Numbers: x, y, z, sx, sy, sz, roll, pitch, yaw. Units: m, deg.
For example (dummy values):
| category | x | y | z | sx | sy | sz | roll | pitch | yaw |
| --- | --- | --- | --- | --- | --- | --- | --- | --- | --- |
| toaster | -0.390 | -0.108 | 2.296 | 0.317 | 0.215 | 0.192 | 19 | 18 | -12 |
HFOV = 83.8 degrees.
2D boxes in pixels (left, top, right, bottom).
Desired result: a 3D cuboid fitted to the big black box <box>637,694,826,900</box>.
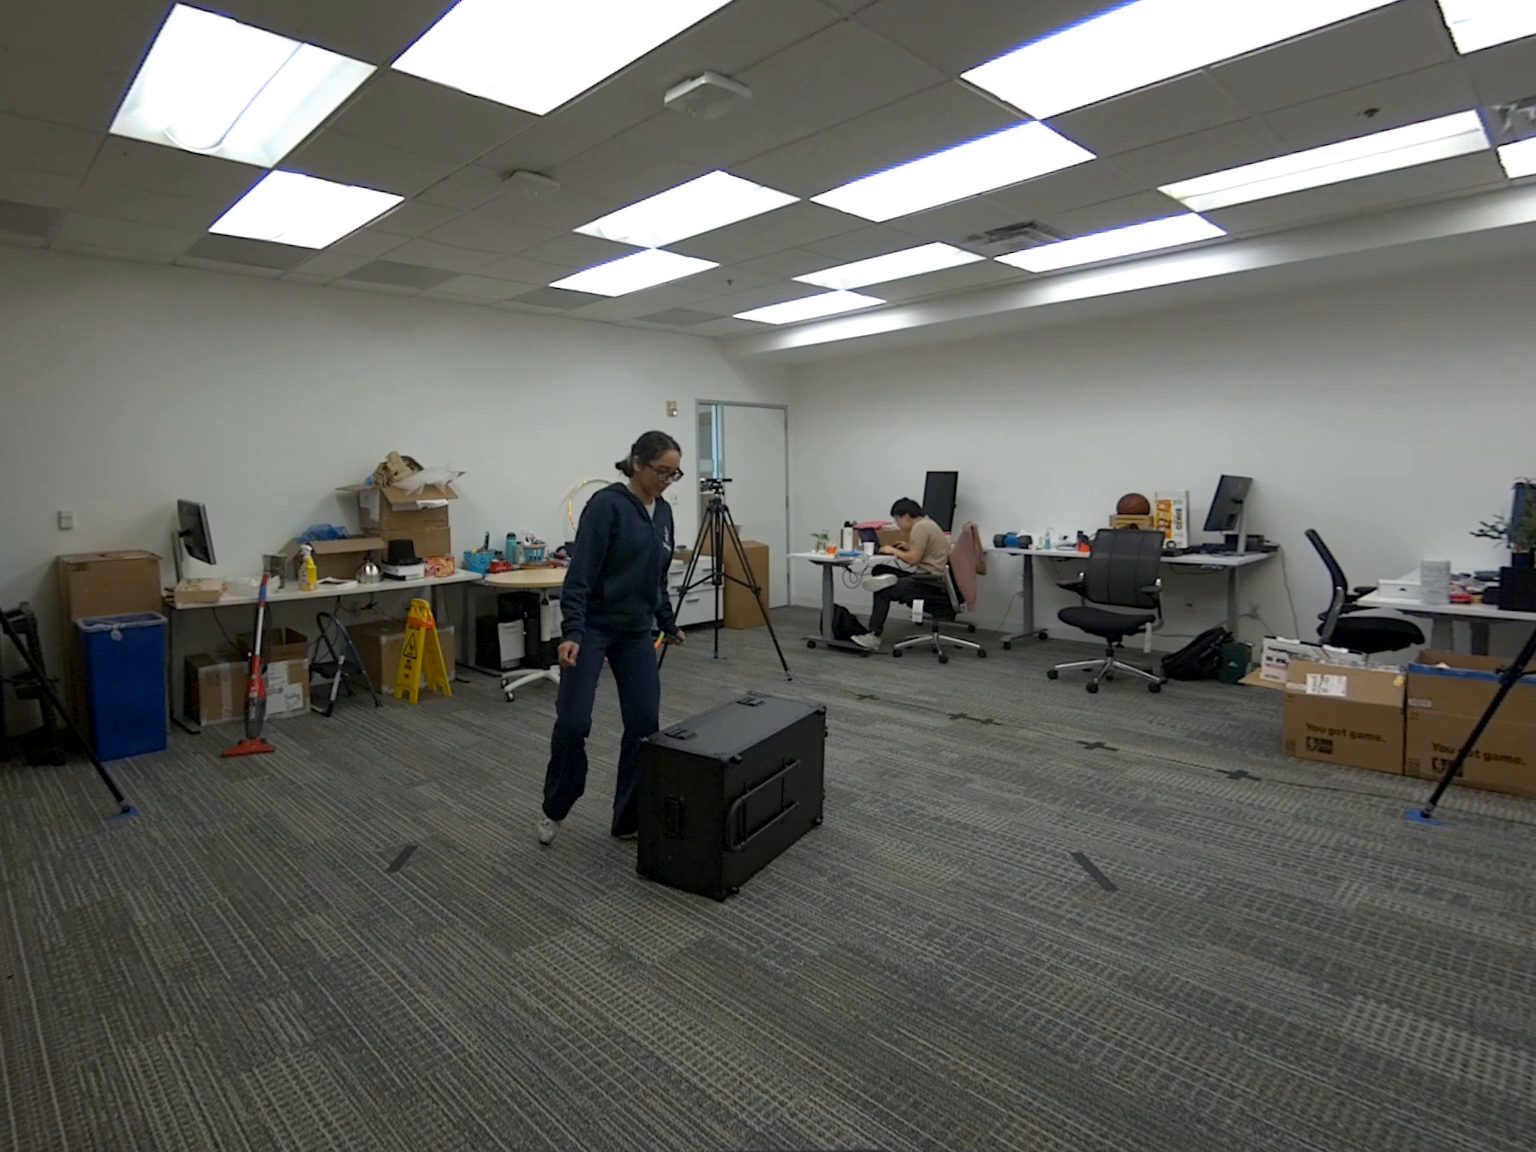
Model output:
| category | x | y | z | sx | sy | sz | roll | pitch | yaw |
| --- | --- | --- | --- | --- | --- | --- | --- | --- | --- |
| big black box | -0.085 | 0.775 | 3.238 | 0.407 | 0.518 | 0.843 | 5 | 8 | 29 |
